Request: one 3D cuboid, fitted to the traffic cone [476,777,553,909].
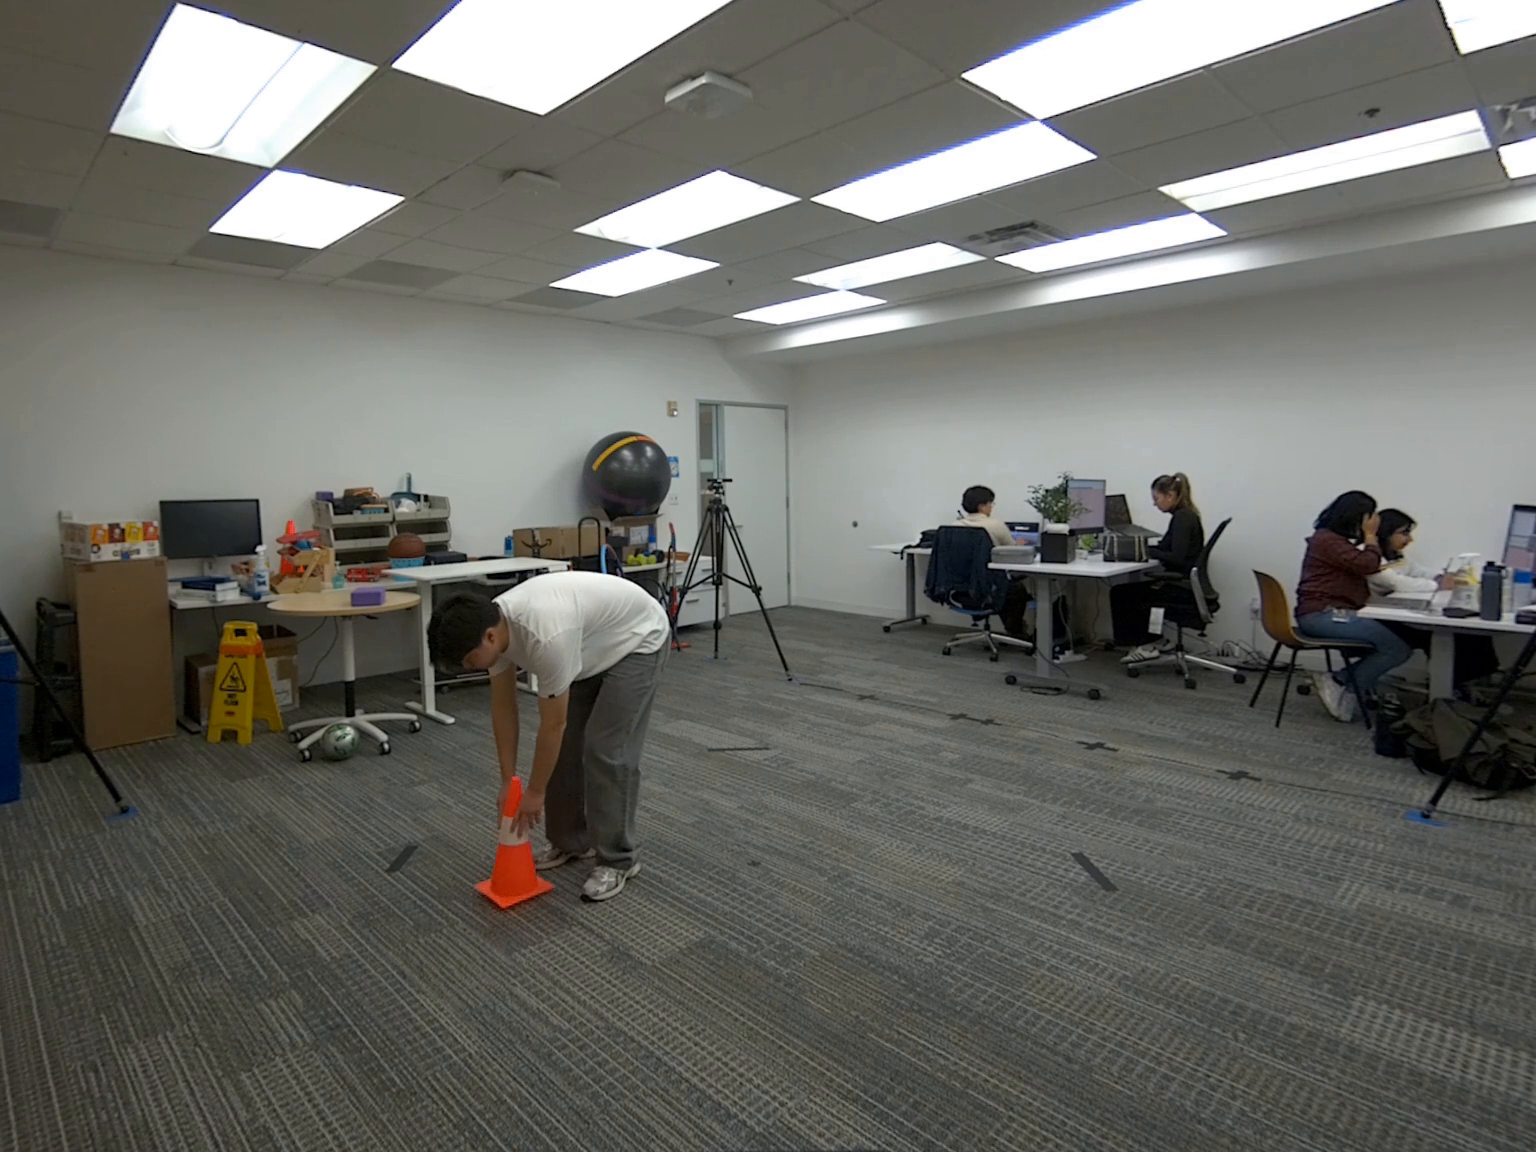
[{"bbox_3d":[-0.856,0.850,2.897,0.199,0.382,0.210,-4,6,-42],"label":"traffic cone"}]
